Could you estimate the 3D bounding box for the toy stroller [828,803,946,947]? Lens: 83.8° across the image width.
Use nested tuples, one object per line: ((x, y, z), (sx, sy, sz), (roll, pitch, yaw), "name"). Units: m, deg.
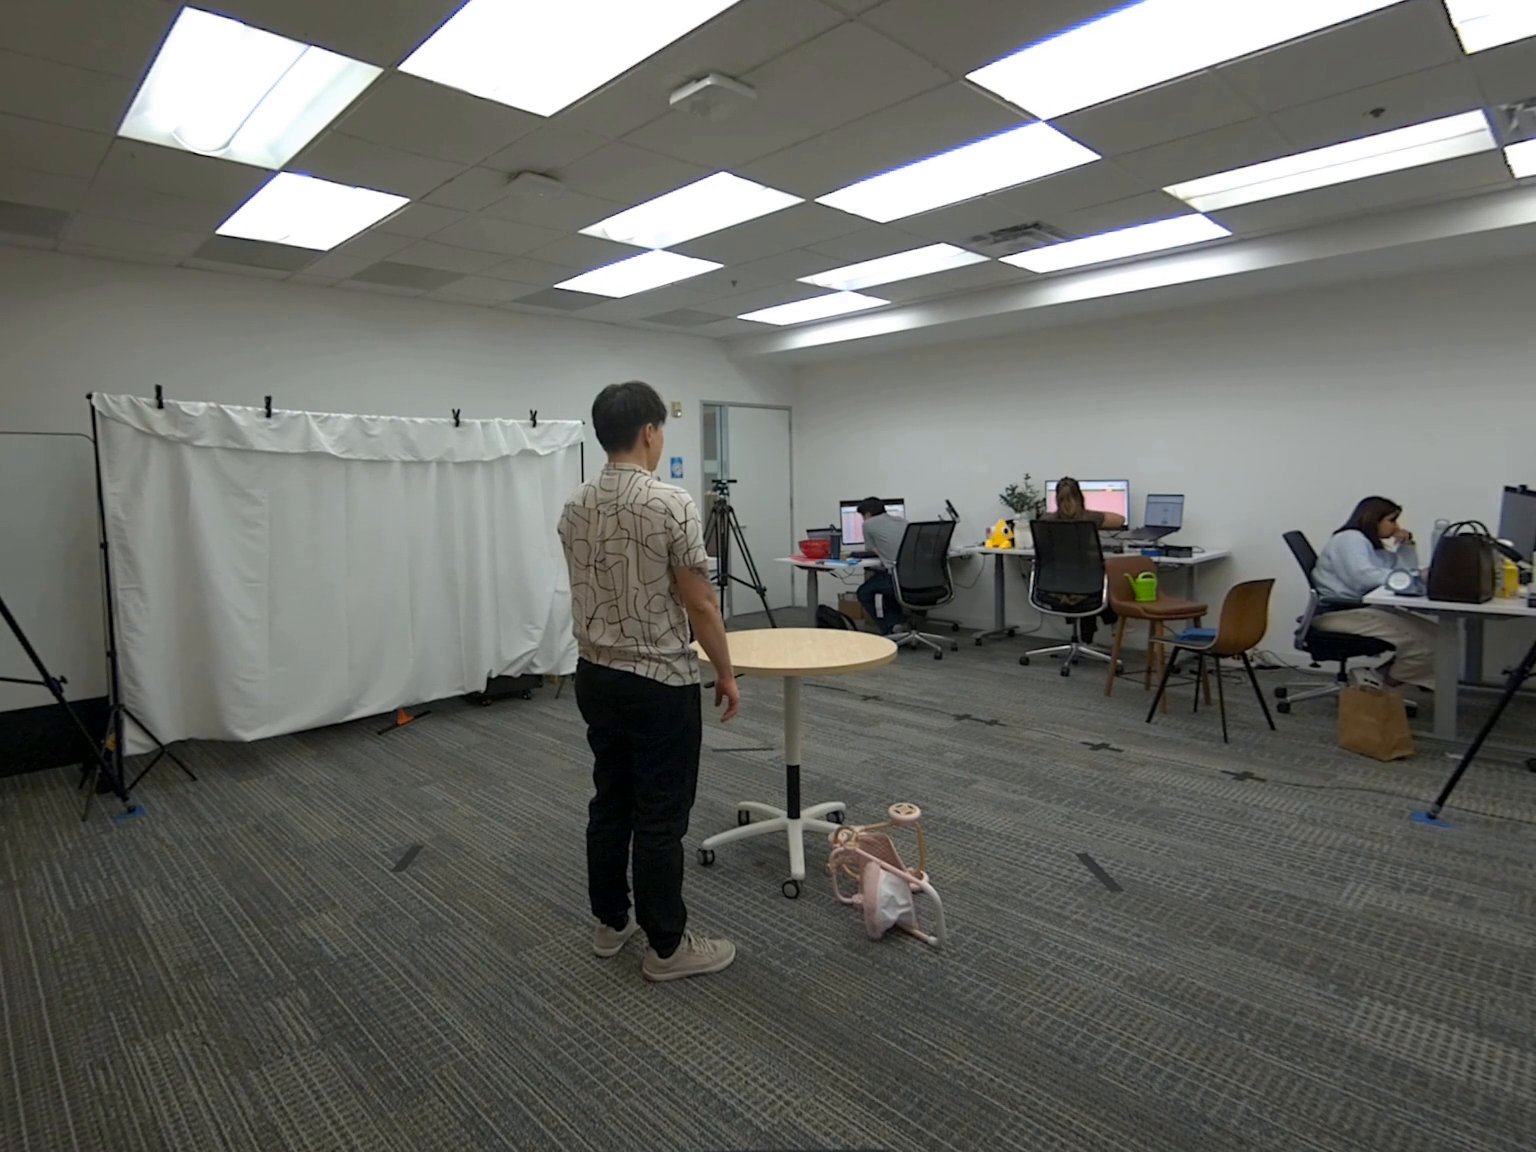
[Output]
((0.369, 0.963, 2.750), (0.343, 0.278, 0.538), (-3, 13, 6), "toy stroller")
